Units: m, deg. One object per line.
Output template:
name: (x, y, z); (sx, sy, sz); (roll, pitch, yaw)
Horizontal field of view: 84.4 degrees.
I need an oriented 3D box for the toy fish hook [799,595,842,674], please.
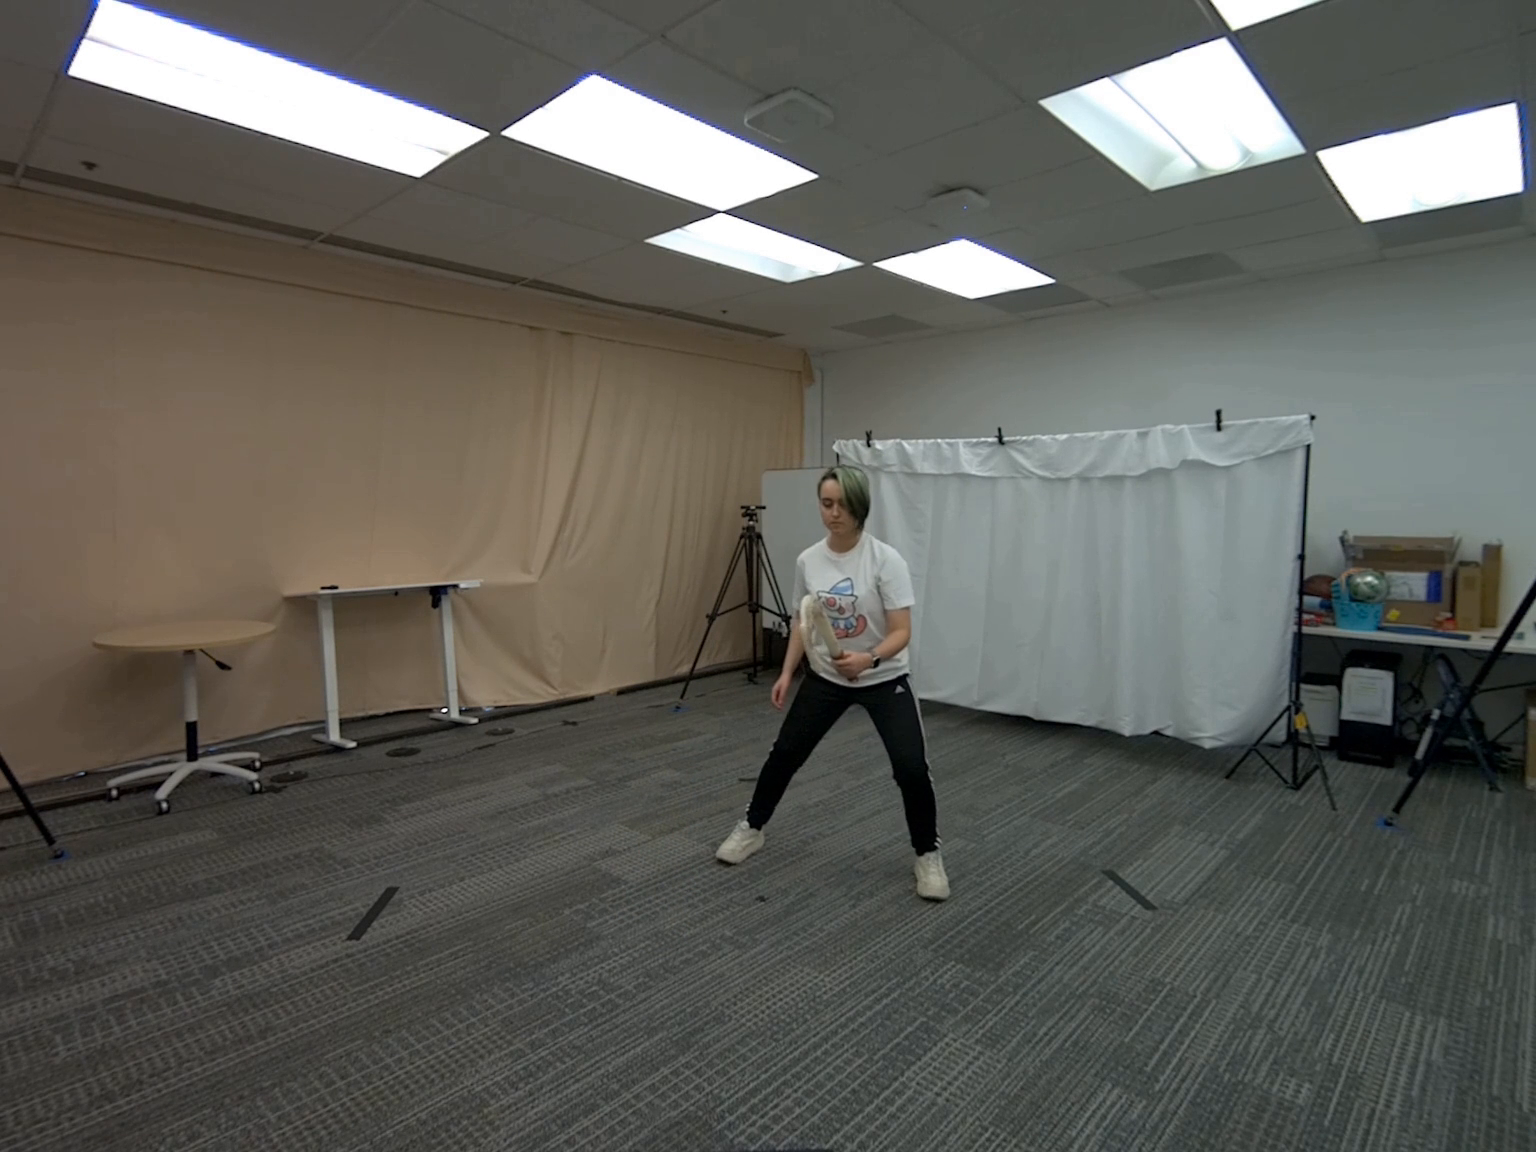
toy fish hook: (0.190, 0.260, 2.681); (0.049, 0.227, 0.489); (-9, -39, 24)
